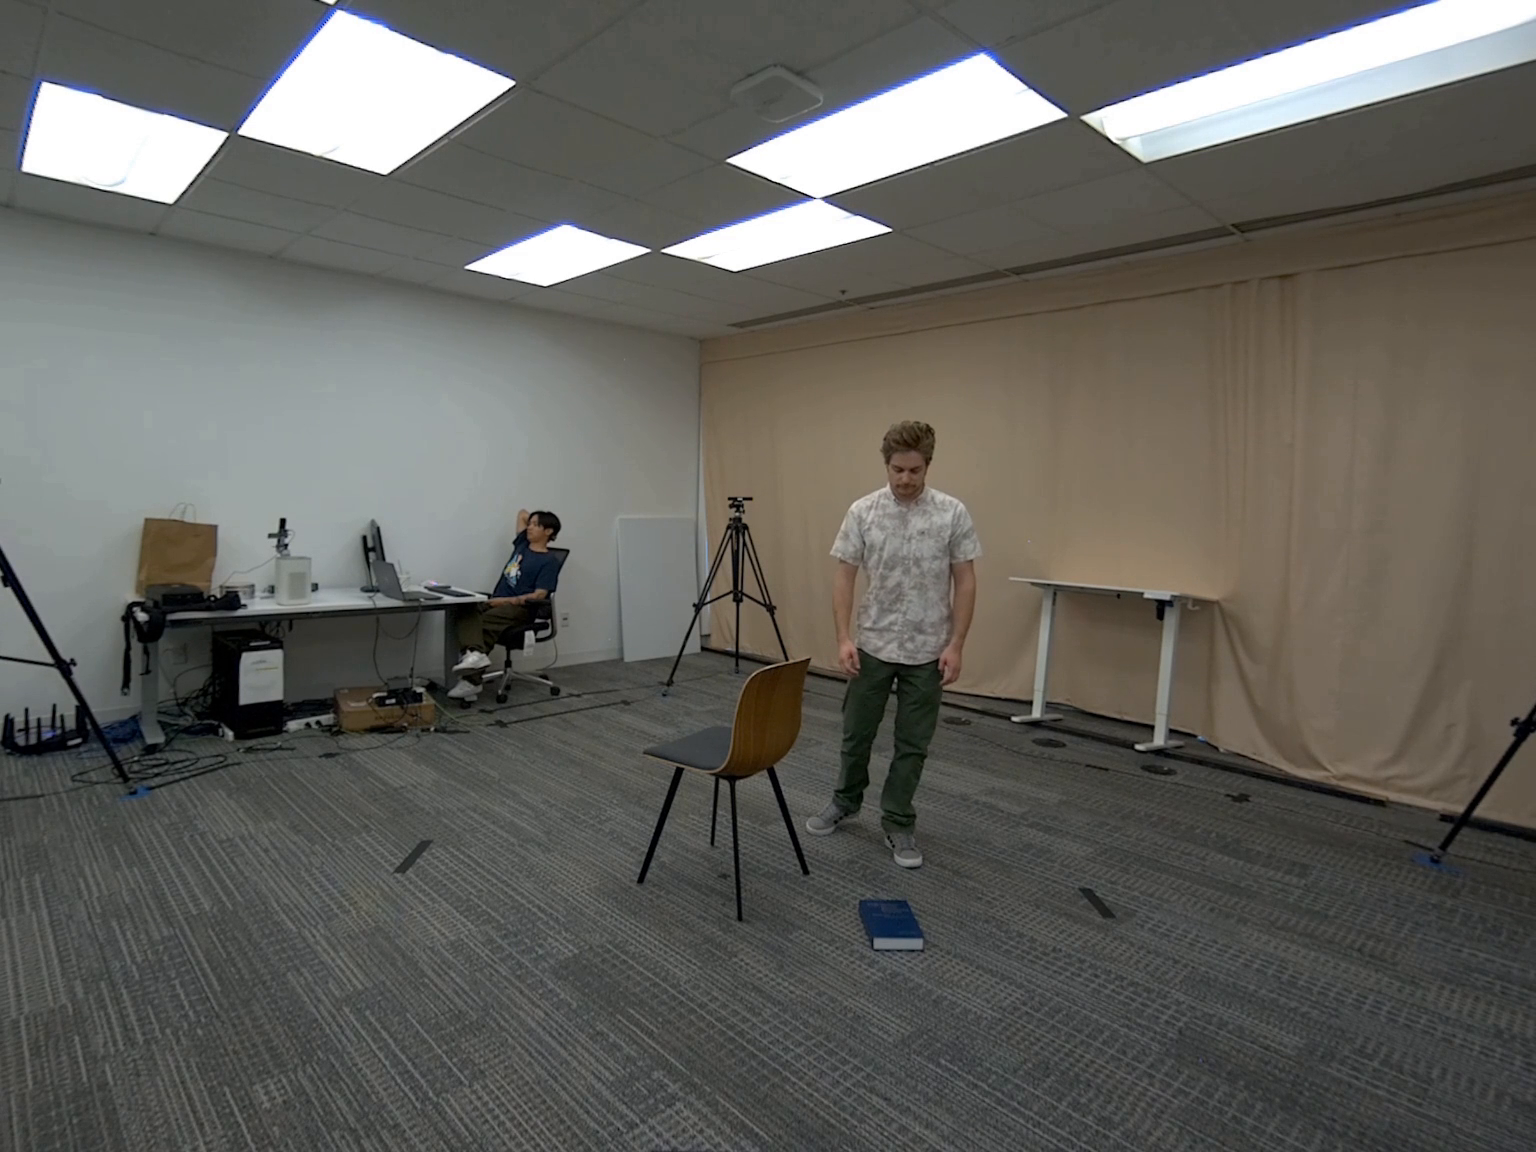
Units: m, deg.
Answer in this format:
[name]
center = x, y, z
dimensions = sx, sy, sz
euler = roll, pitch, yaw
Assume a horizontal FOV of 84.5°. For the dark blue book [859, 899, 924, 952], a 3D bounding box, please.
[dark blue book]
center = 0.393, 1.132, 2.731
dimensions = 0.163, 0.045, 0.246
euler = 1, 5, -4
